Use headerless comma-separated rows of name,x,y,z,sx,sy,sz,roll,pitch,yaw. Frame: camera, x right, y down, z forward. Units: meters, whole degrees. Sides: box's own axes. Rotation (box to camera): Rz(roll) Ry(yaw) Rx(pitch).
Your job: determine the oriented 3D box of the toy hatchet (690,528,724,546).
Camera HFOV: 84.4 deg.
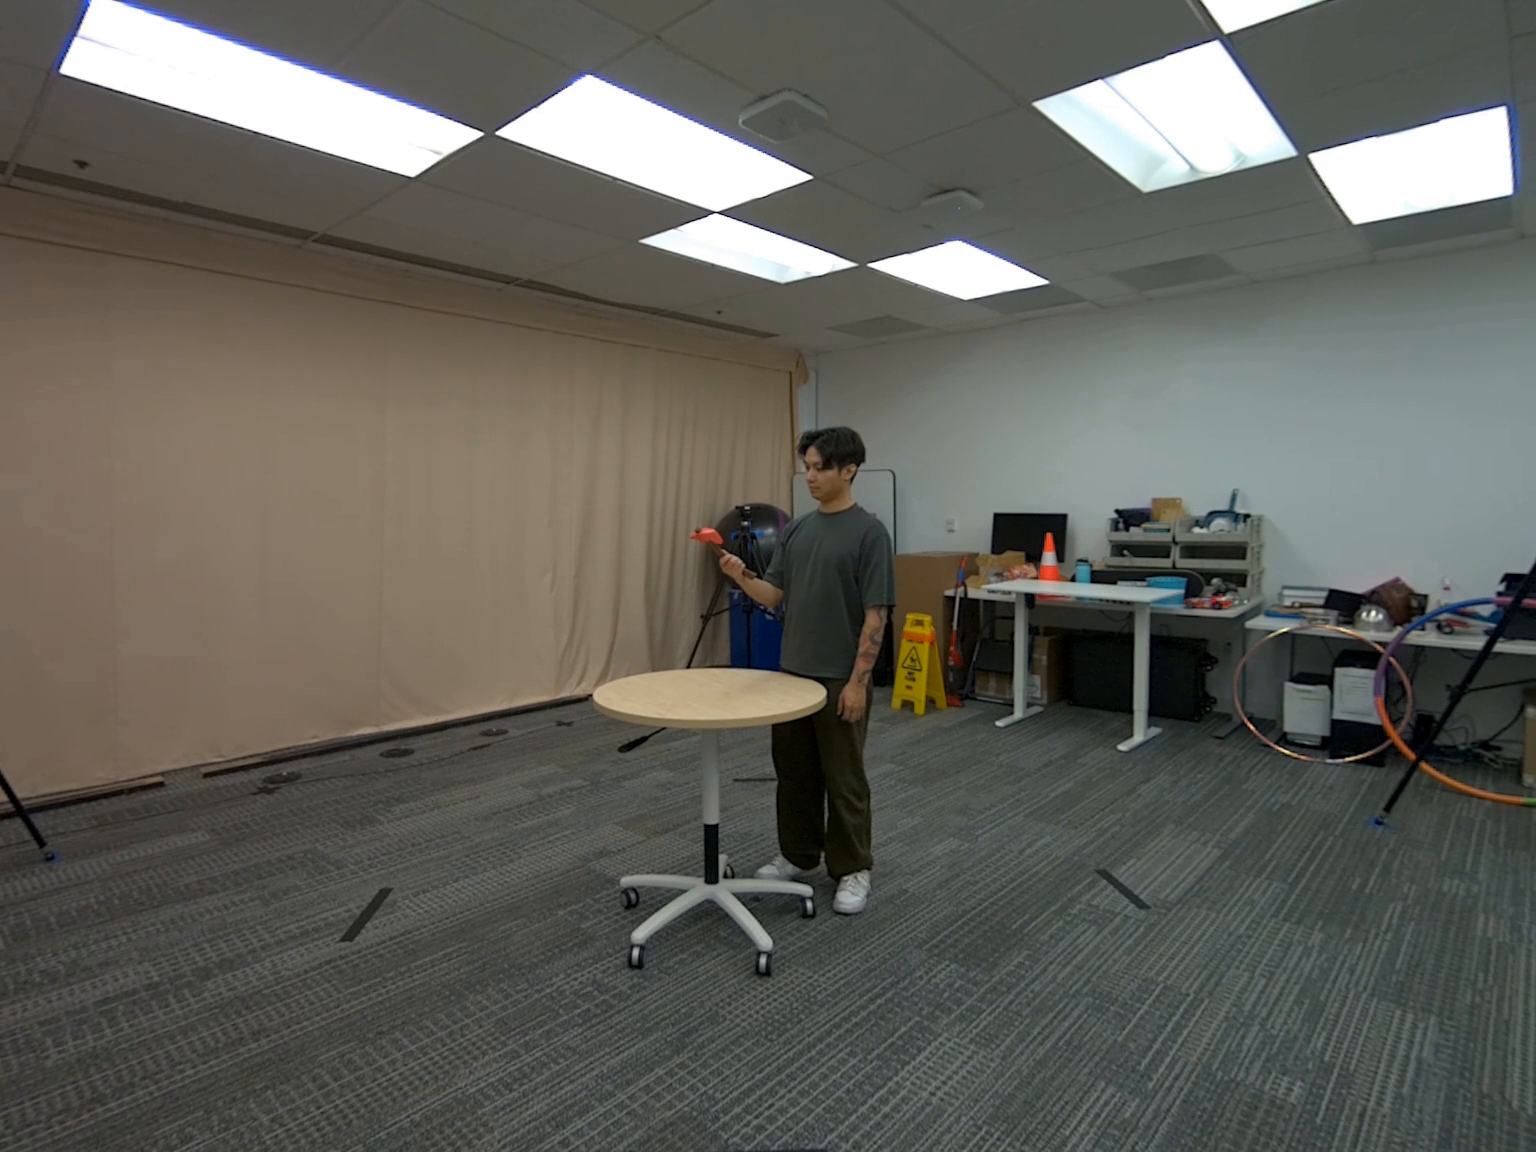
toy hatchet,-0.132,-0.084,2.846,0.267,0.029,0.132,32,-31,-10
